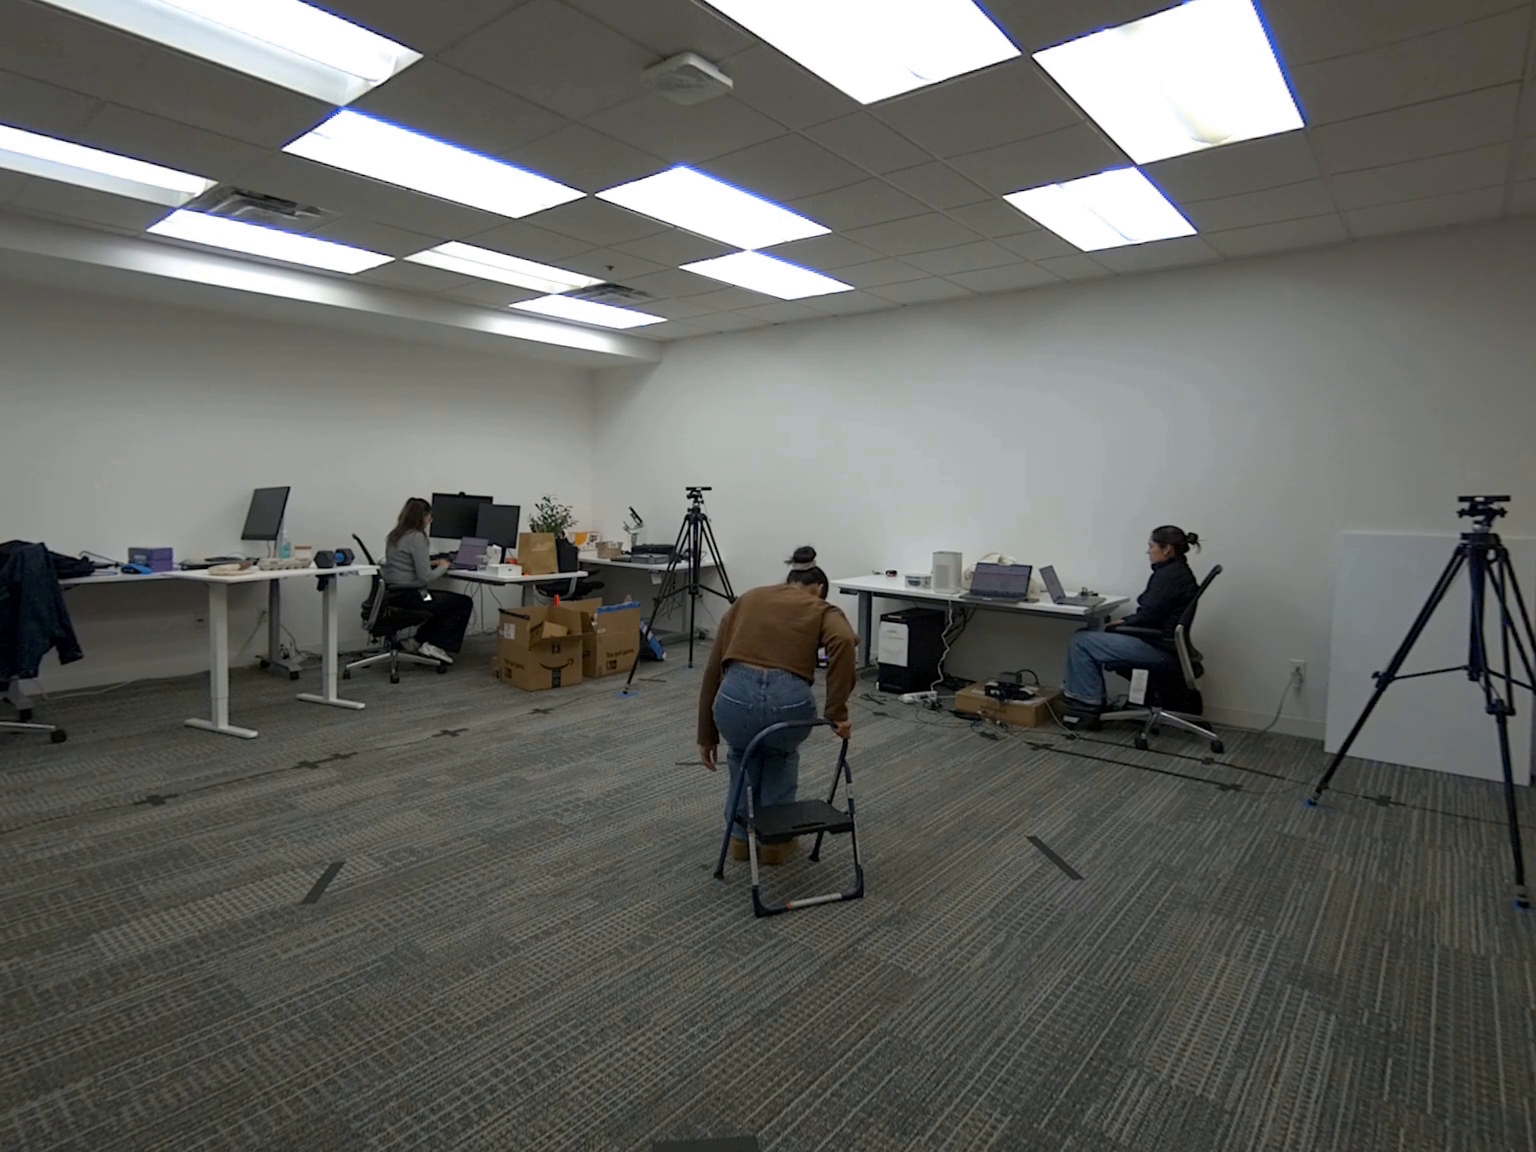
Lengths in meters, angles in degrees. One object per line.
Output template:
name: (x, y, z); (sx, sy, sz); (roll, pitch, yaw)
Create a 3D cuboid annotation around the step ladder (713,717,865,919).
step ladder: (0.067, 0.783, 2.971); (0.420, 0.604, 0.359); (-1, 4, -26)
